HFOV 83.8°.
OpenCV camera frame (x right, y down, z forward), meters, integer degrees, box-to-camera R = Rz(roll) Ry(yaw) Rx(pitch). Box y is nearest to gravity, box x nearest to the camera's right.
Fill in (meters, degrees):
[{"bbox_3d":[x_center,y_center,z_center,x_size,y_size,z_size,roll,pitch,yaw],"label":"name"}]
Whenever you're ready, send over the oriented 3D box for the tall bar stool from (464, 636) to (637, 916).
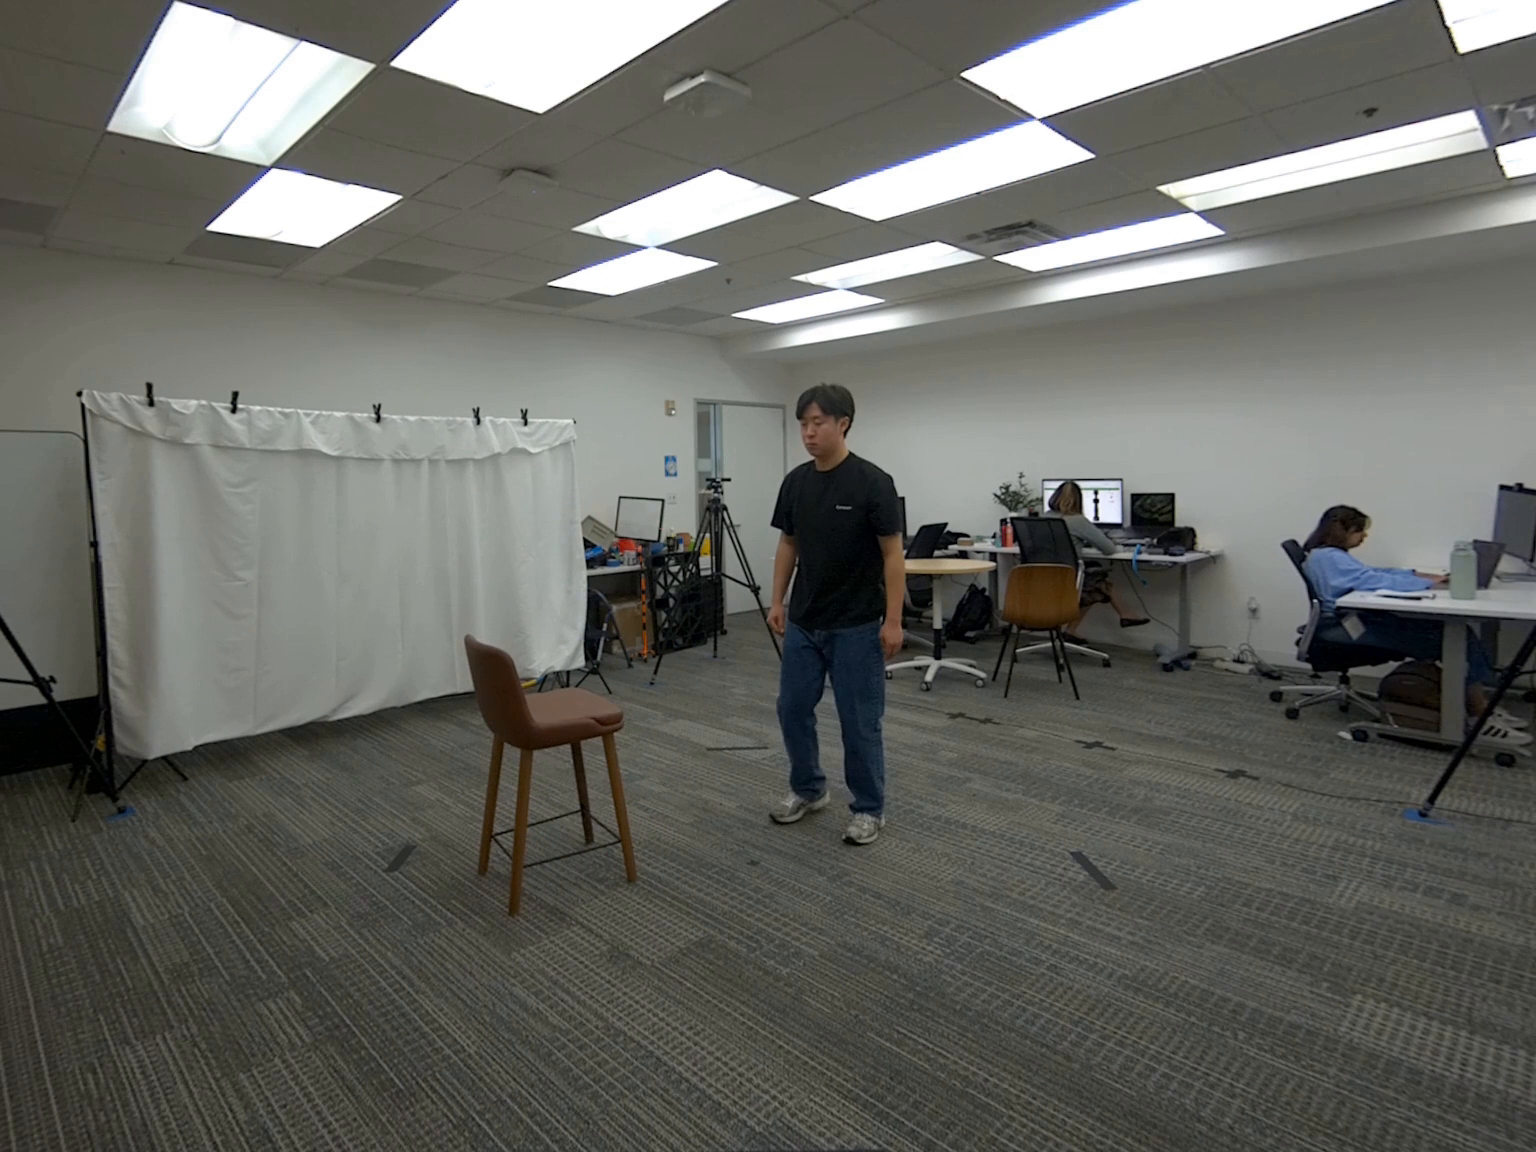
[{"bbox_3d":[-0.763,0.631,2.996,0.456,0.885,0.470,-6,6,-34],"label":"tall bar stool"}]
